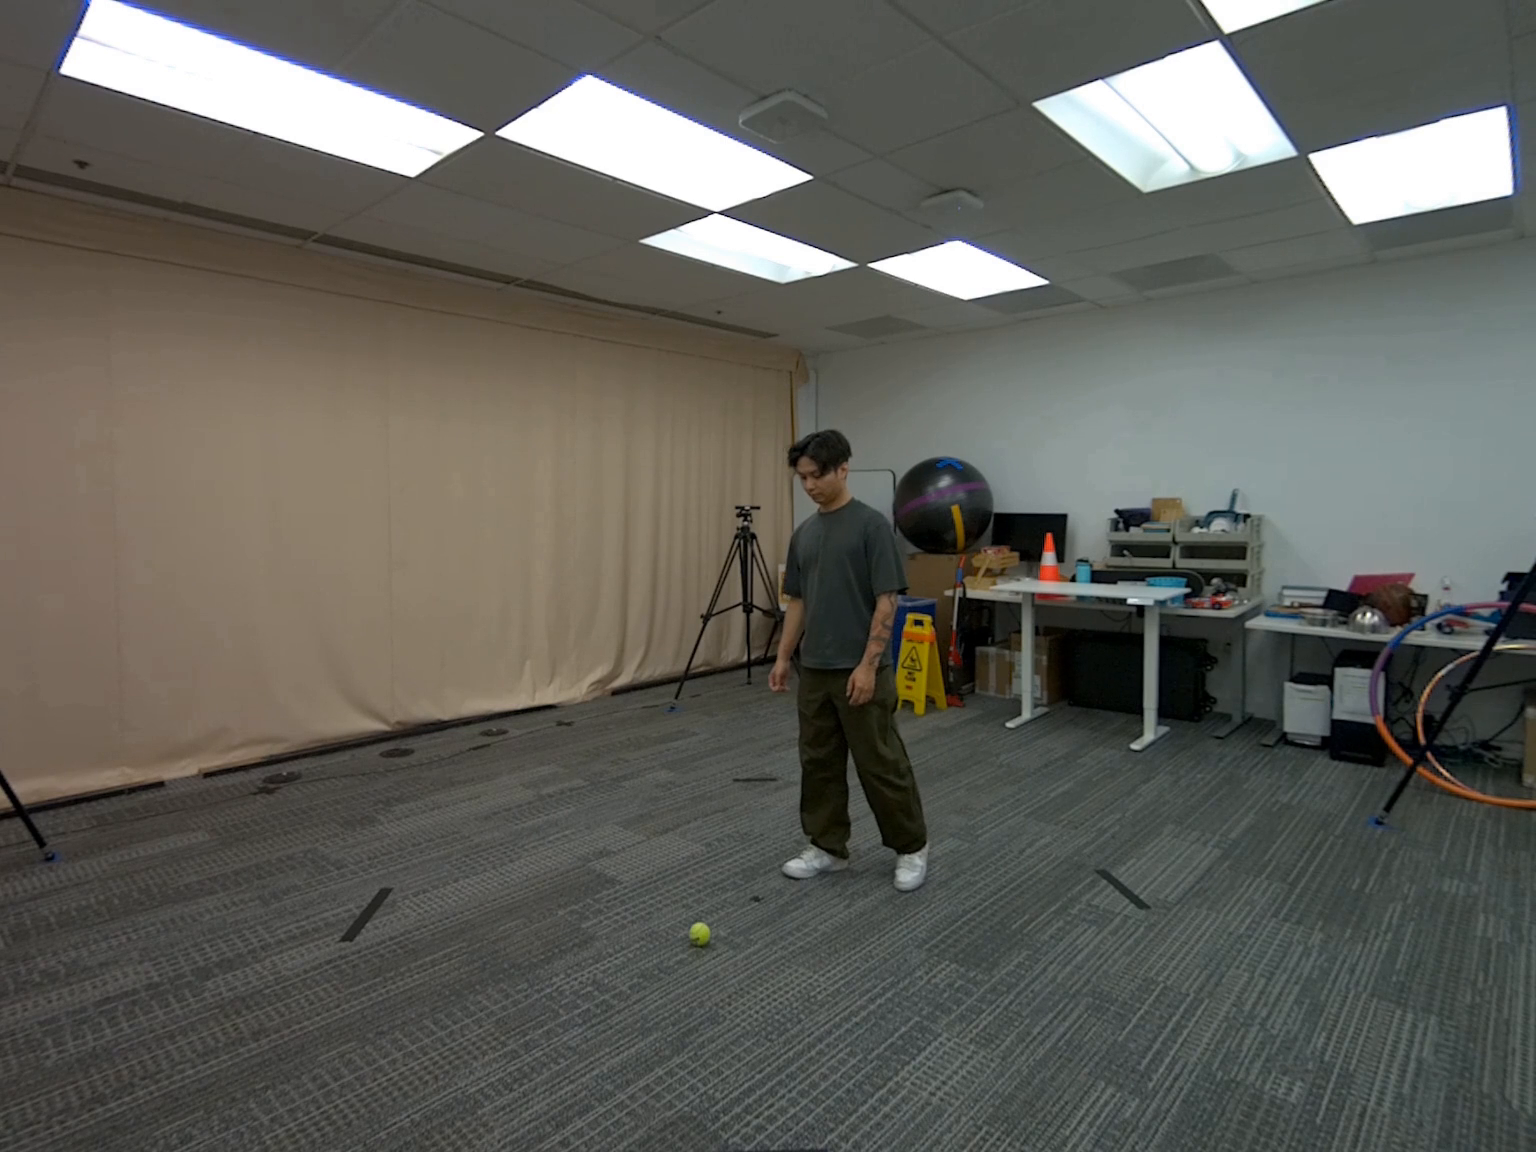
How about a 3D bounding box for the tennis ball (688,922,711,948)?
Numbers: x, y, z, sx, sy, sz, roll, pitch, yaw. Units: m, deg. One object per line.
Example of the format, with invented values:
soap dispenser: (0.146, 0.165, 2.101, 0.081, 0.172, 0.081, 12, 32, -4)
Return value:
tennis ball: (-0.211, 1.129, 2.663, 0.066, 0.066, 0.067, 0, 4, -2)
